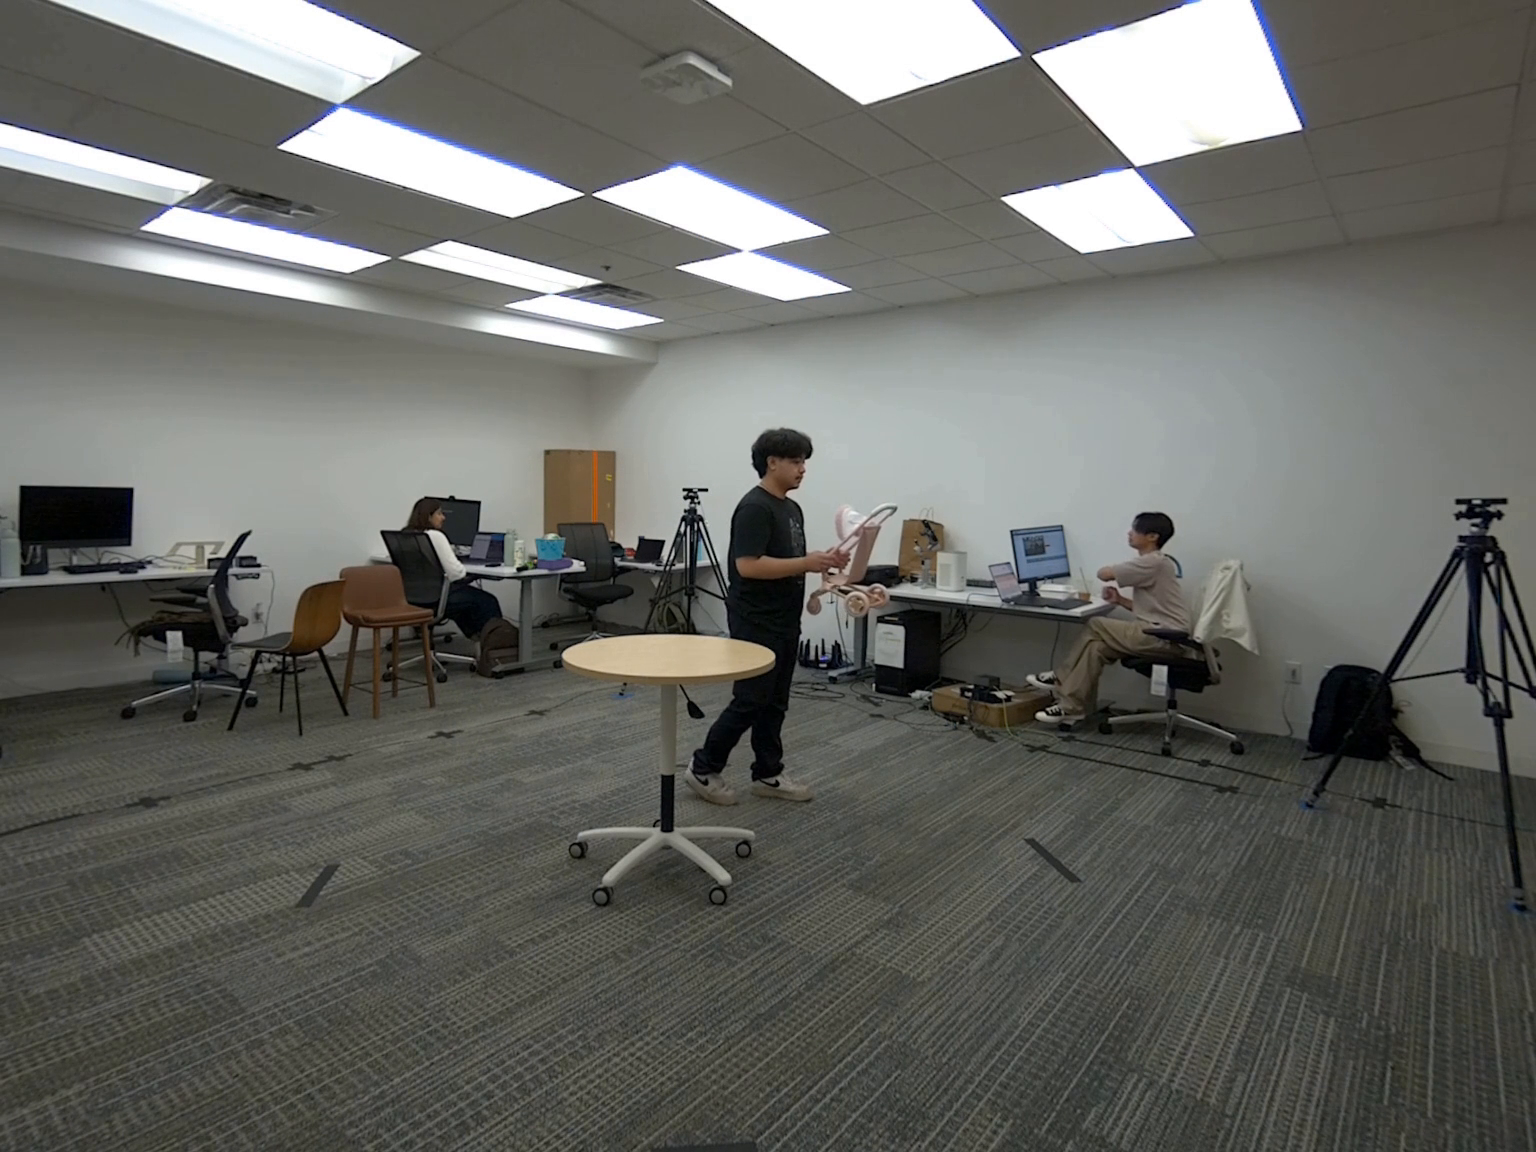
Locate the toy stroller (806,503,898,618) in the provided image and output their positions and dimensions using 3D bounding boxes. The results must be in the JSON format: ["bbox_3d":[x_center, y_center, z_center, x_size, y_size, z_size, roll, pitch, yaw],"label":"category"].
[{"bbox_3d":[0.329,-0.070,3.653,0.353,0.531,0.274,11,9,33],"label":"toy stroller"}]
